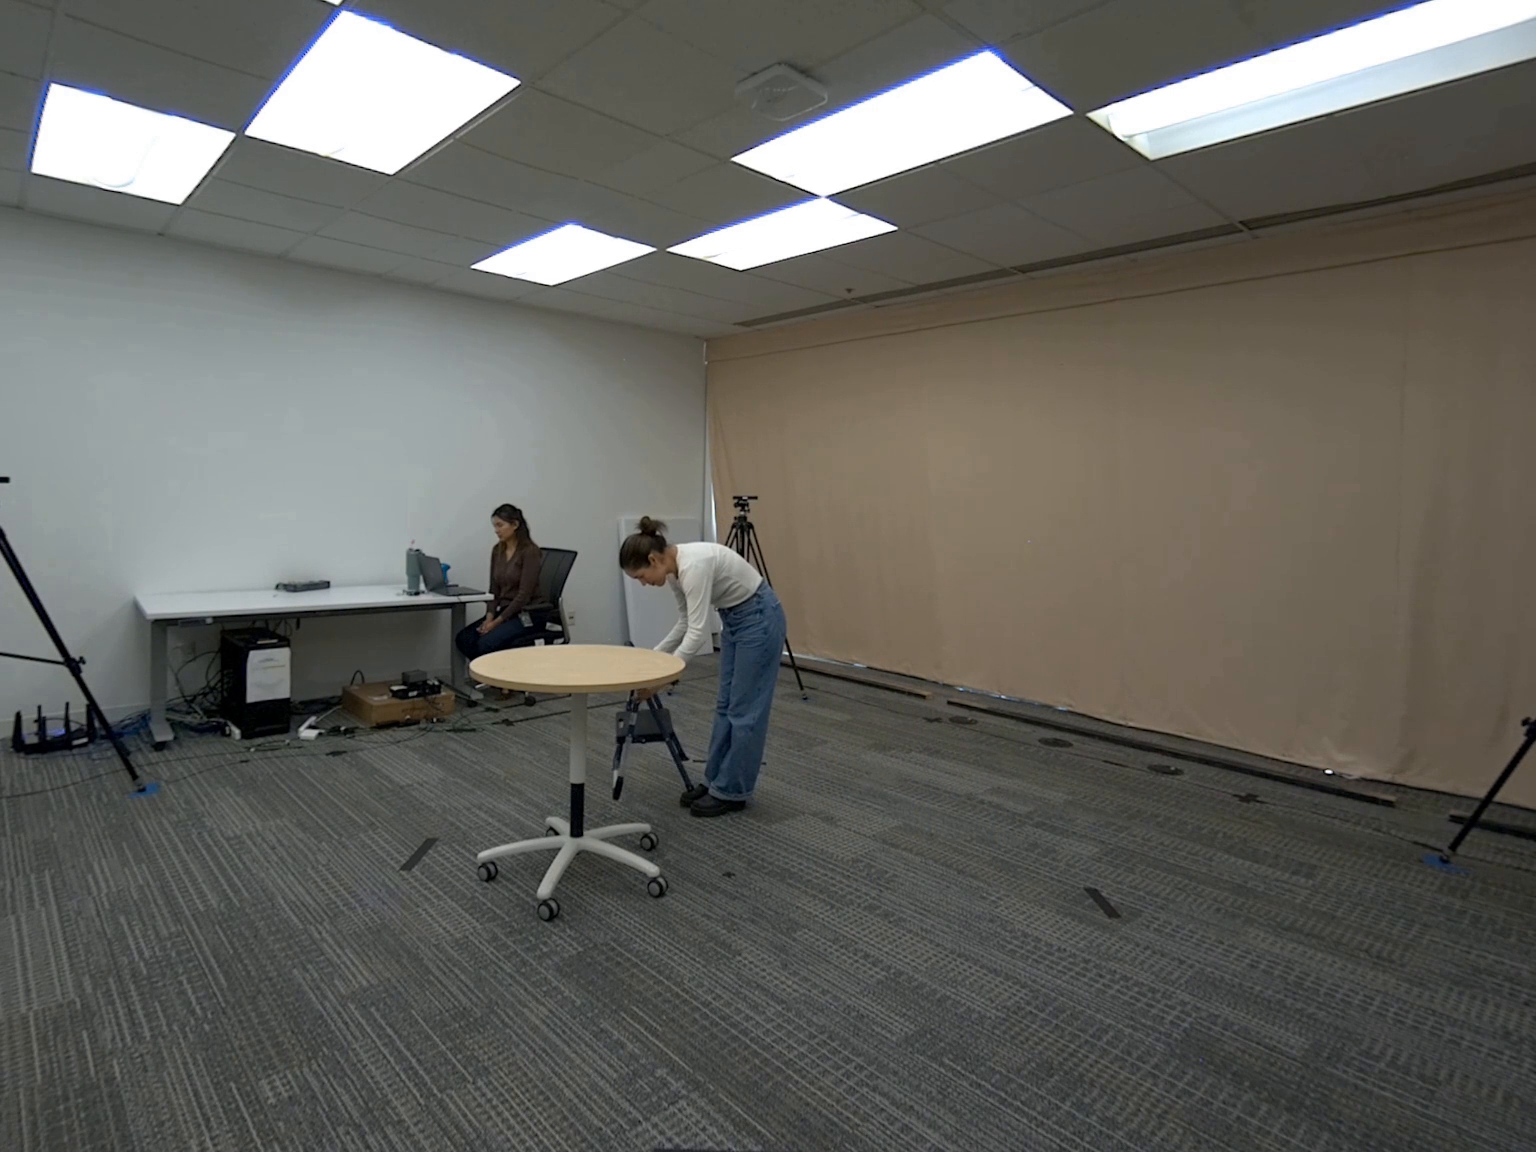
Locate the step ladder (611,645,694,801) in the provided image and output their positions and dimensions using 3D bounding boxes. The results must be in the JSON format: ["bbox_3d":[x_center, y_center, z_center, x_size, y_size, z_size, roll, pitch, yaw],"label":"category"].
[{"bbox_3d":[-0.514,0.588,3.656,0.347,0.603,0.435,-2,6,-9],"label":"step ladder"}]
